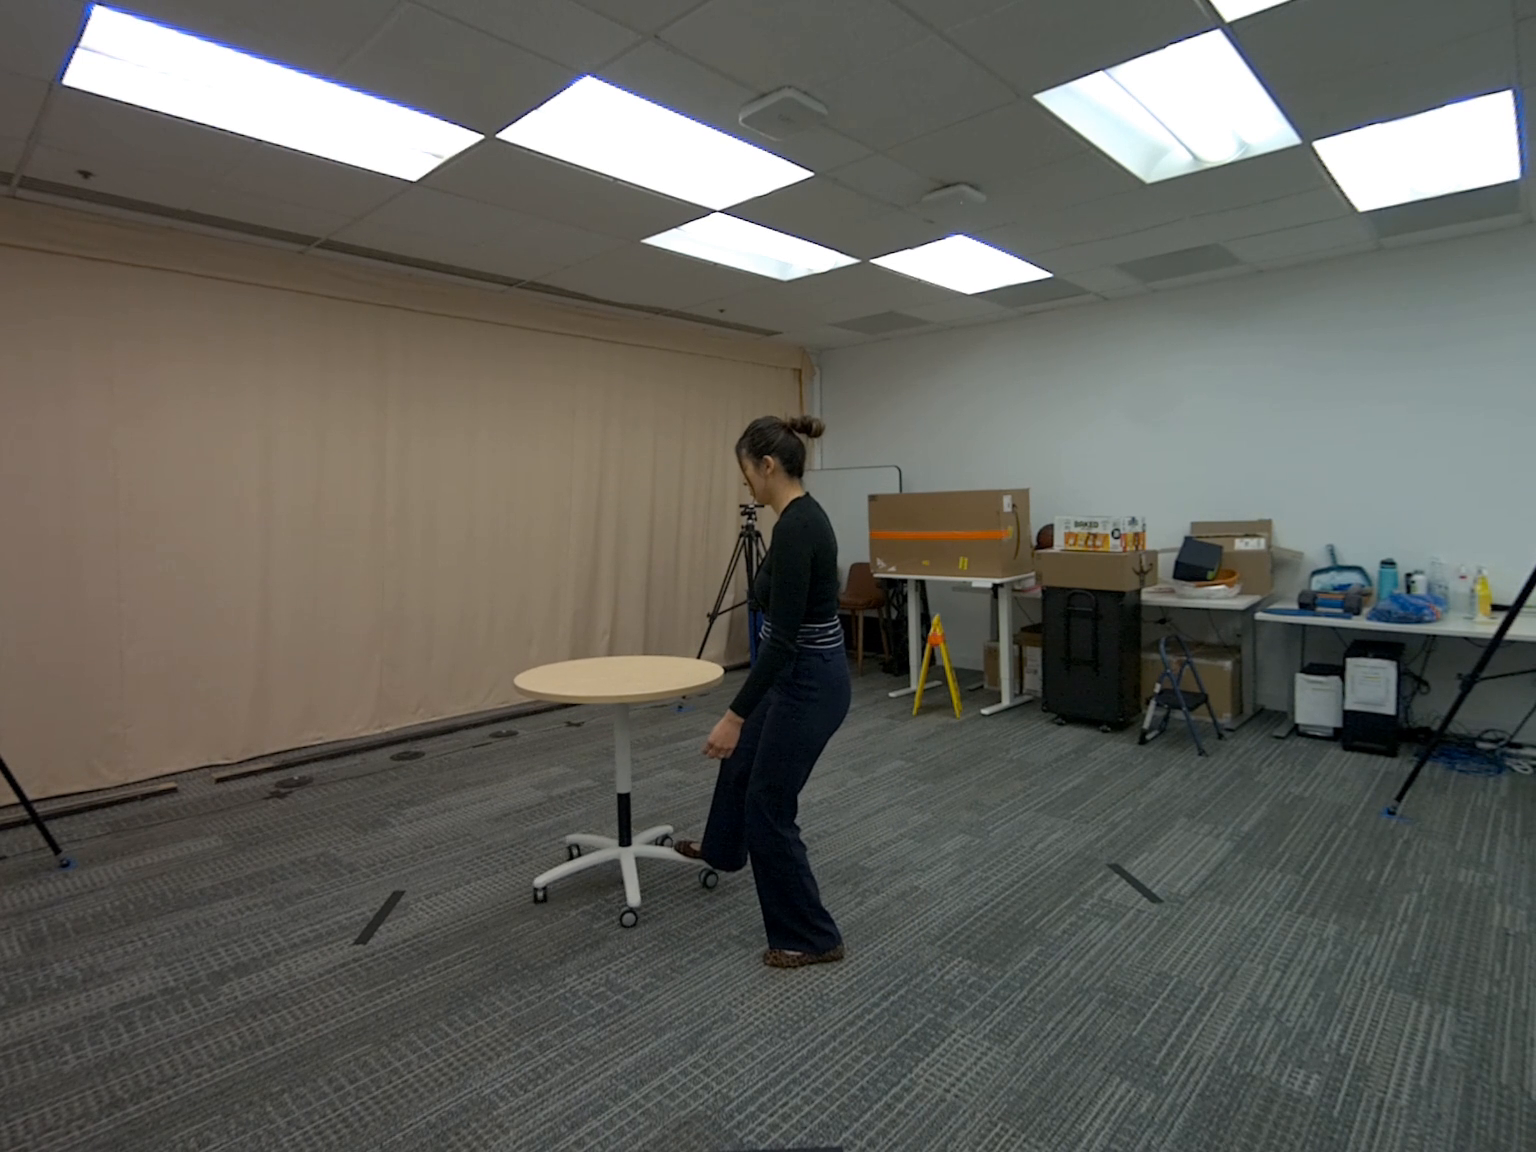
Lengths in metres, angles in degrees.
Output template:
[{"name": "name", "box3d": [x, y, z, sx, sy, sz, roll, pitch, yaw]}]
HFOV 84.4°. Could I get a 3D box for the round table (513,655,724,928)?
[{"name": "round table", "box3d": [-0.536, 0.753, 3.111, 0.763, 0.792, 0.766, -1, 3, -2]}]
